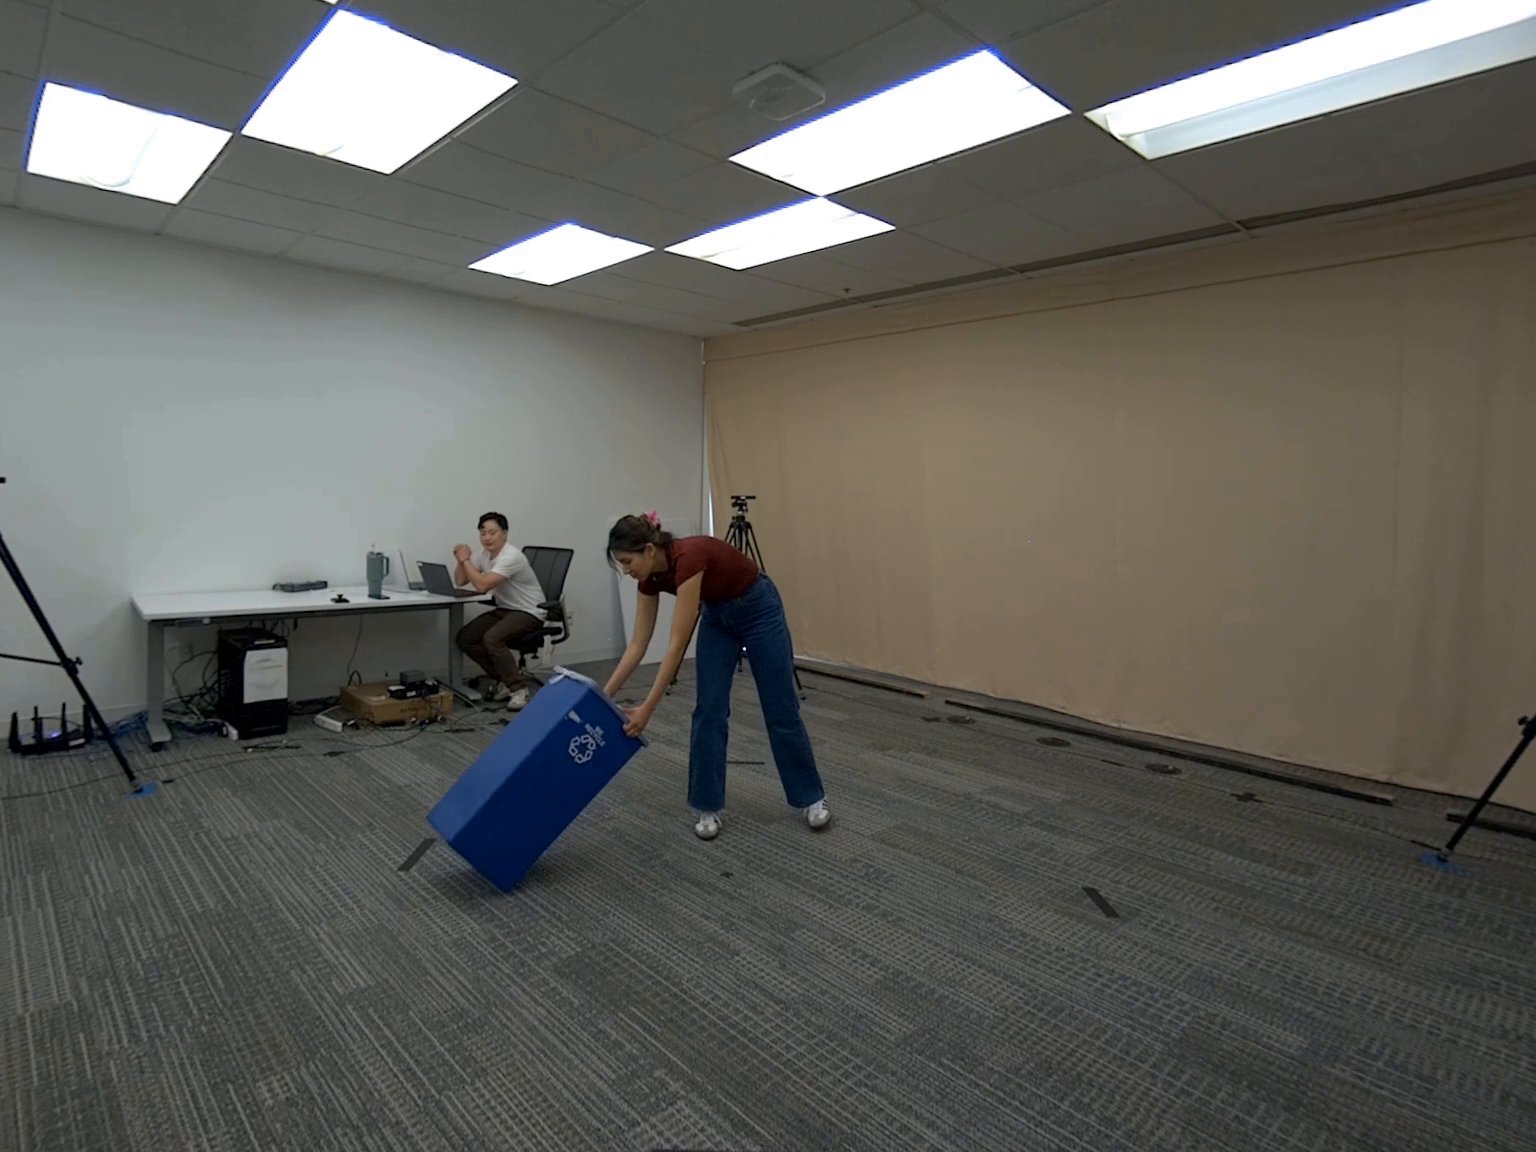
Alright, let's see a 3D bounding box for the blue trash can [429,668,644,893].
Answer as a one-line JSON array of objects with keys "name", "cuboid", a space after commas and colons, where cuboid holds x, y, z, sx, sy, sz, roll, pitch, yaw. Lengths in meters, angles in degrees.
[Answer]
[{"name": "blue trash can", "cuboid": [-0.837, 0.741, 3.097, 0.714, 0.365, 0.387, -49, 27, -22]}]
